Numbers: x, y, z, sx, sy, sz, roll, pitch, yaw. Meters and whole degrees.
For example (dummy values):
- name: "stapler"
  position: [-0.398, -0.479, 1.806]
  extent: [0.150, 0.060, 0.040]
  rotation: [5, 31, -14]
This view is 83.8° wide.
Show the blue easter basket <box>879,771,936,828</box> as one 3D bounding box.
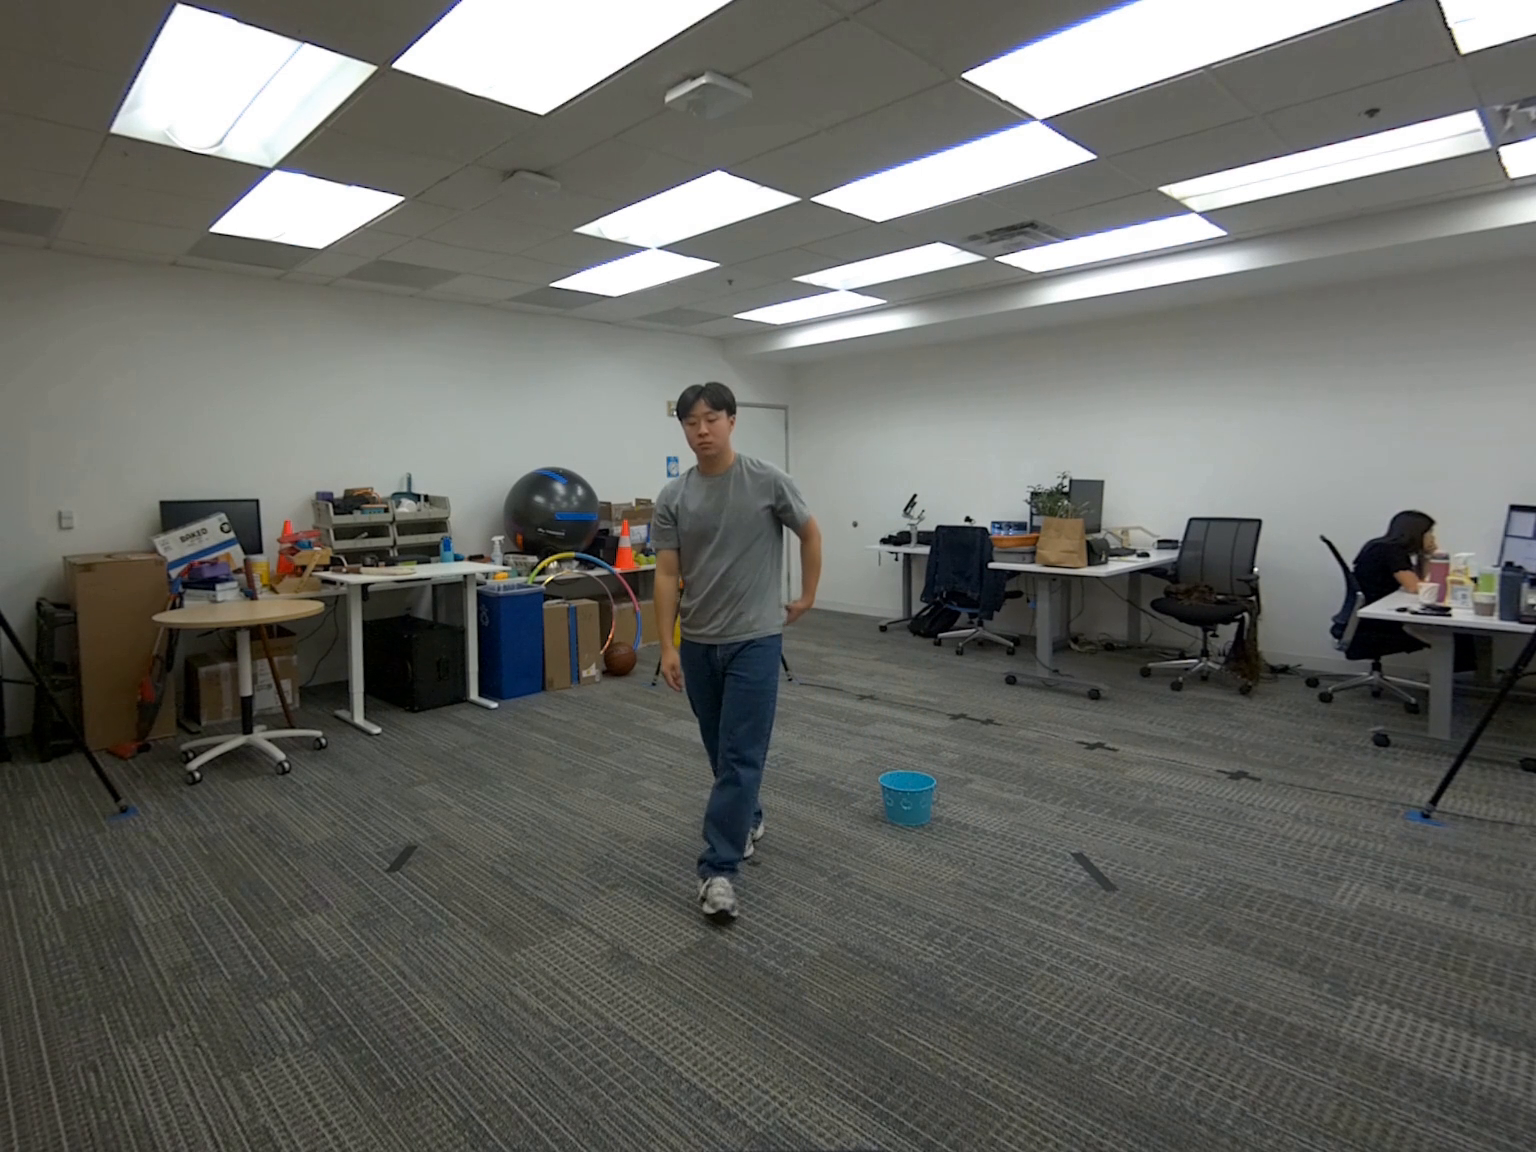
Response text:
- name: "blue easter basket"
  position: [0.580, 0.910, 3.510]
  extent: [0.243, 0.155, 0.245]
  rotation: [-2, 5, -2]
